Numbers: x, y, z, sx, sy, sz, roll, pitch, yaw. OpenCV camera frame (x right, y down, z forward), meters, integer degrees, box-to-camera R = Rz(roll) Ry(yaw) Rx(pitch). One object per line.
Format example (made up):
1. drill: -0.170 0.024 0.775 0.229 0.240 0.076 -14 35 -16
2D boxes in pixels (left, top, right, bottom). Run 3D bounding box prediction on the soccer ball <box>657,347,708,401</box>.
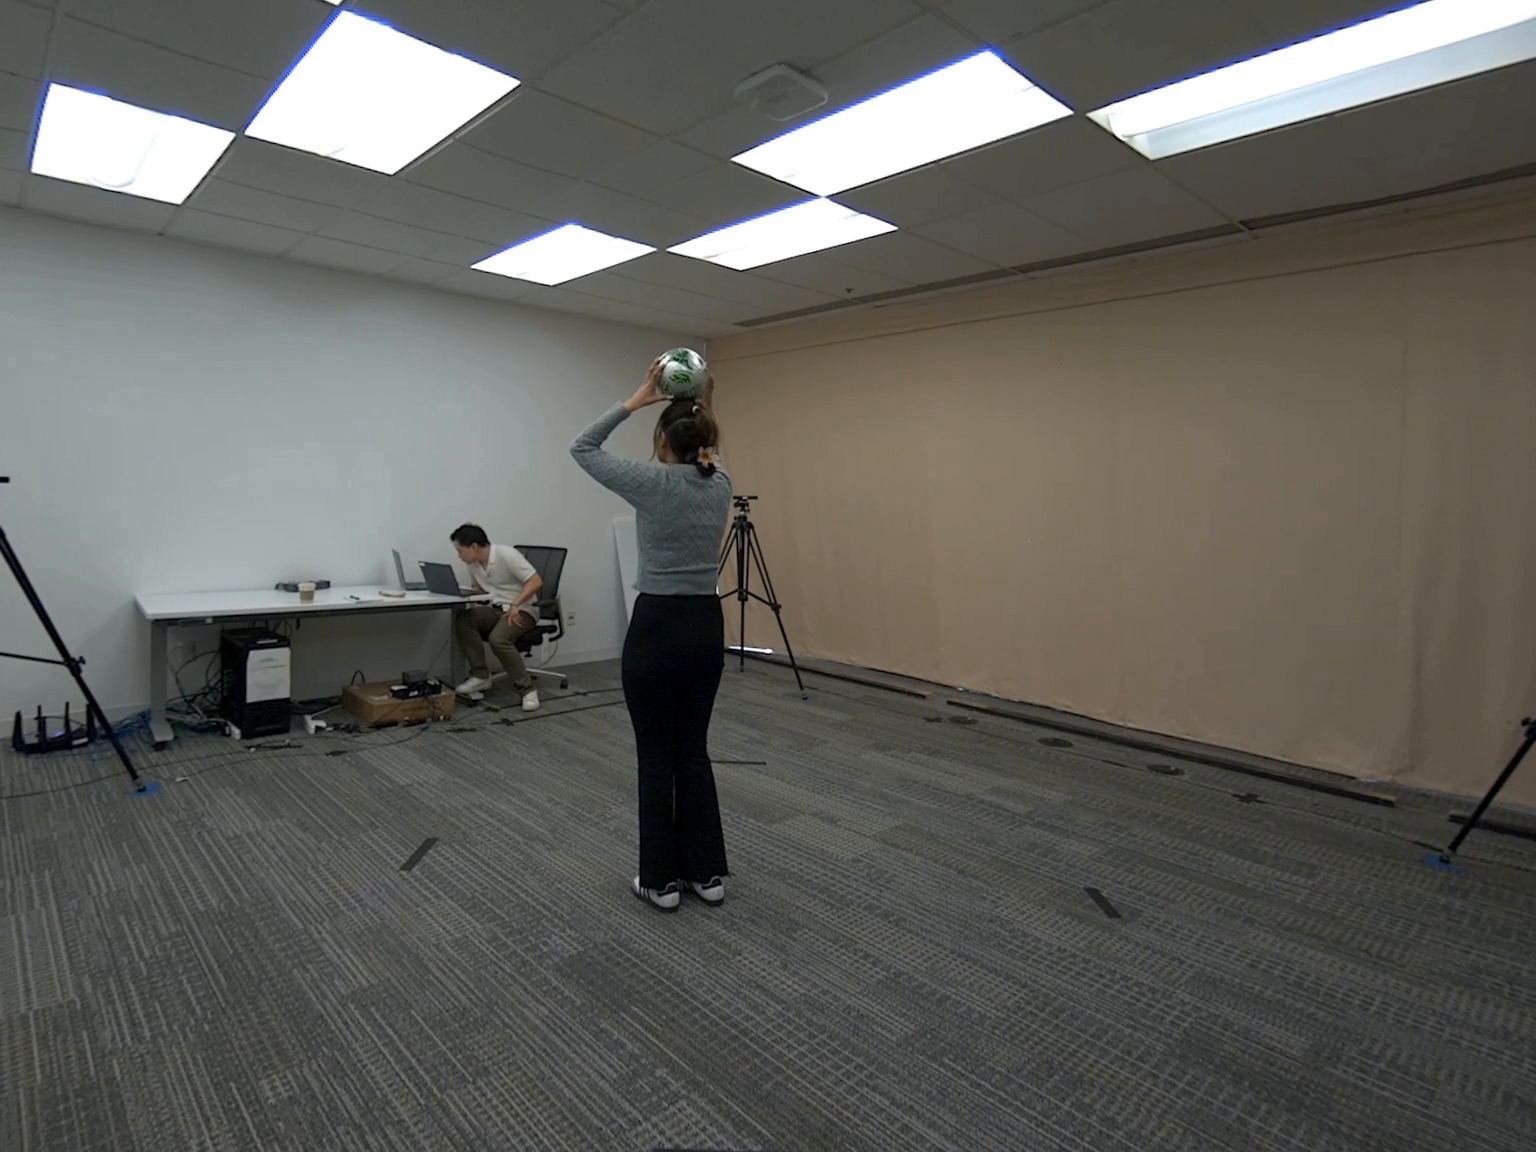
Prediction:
1. soccer ball: -0.309 -0.683 2.886 0.187 0.187 0.188 1 4 -1
